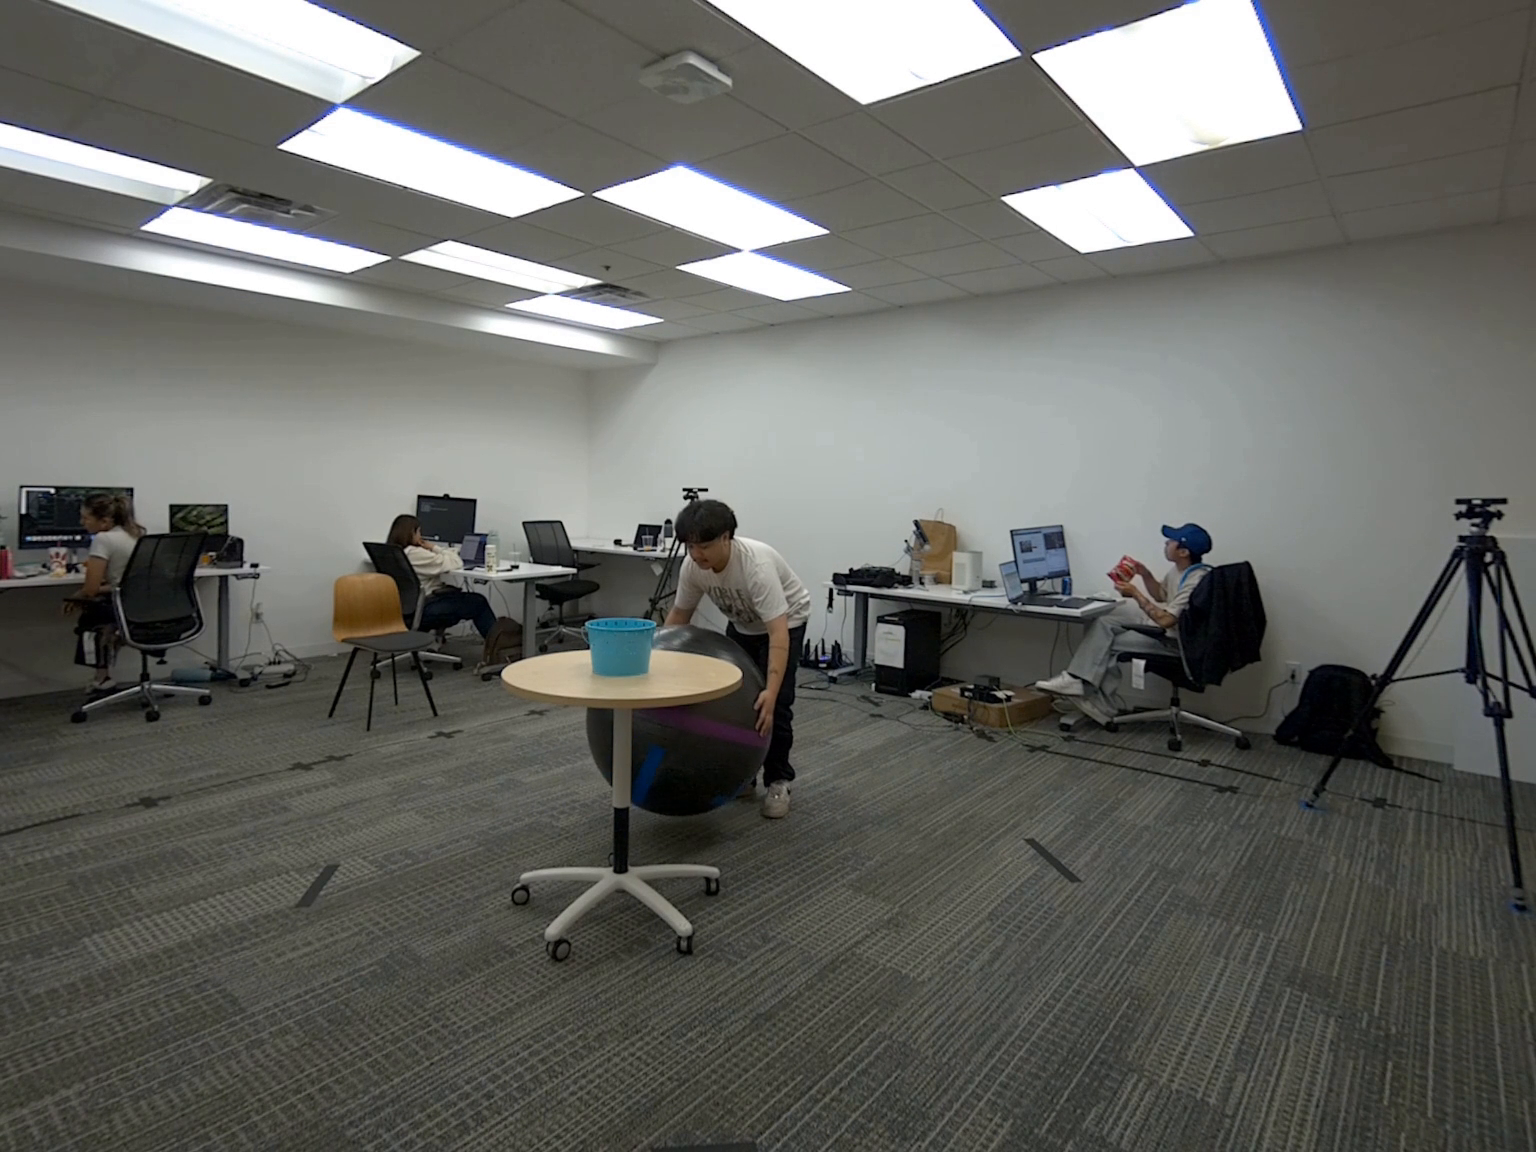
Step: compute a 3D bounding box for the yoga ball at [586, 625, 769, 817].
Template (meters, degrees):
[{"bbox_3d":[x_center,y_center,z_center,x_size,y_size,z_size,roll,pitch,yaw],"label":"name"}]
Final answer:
[{"bbox_3d":[-0.377,0.586,3.488,0.757,0.755,0.762,1,4,-2],"label":"yoga ball"}]
